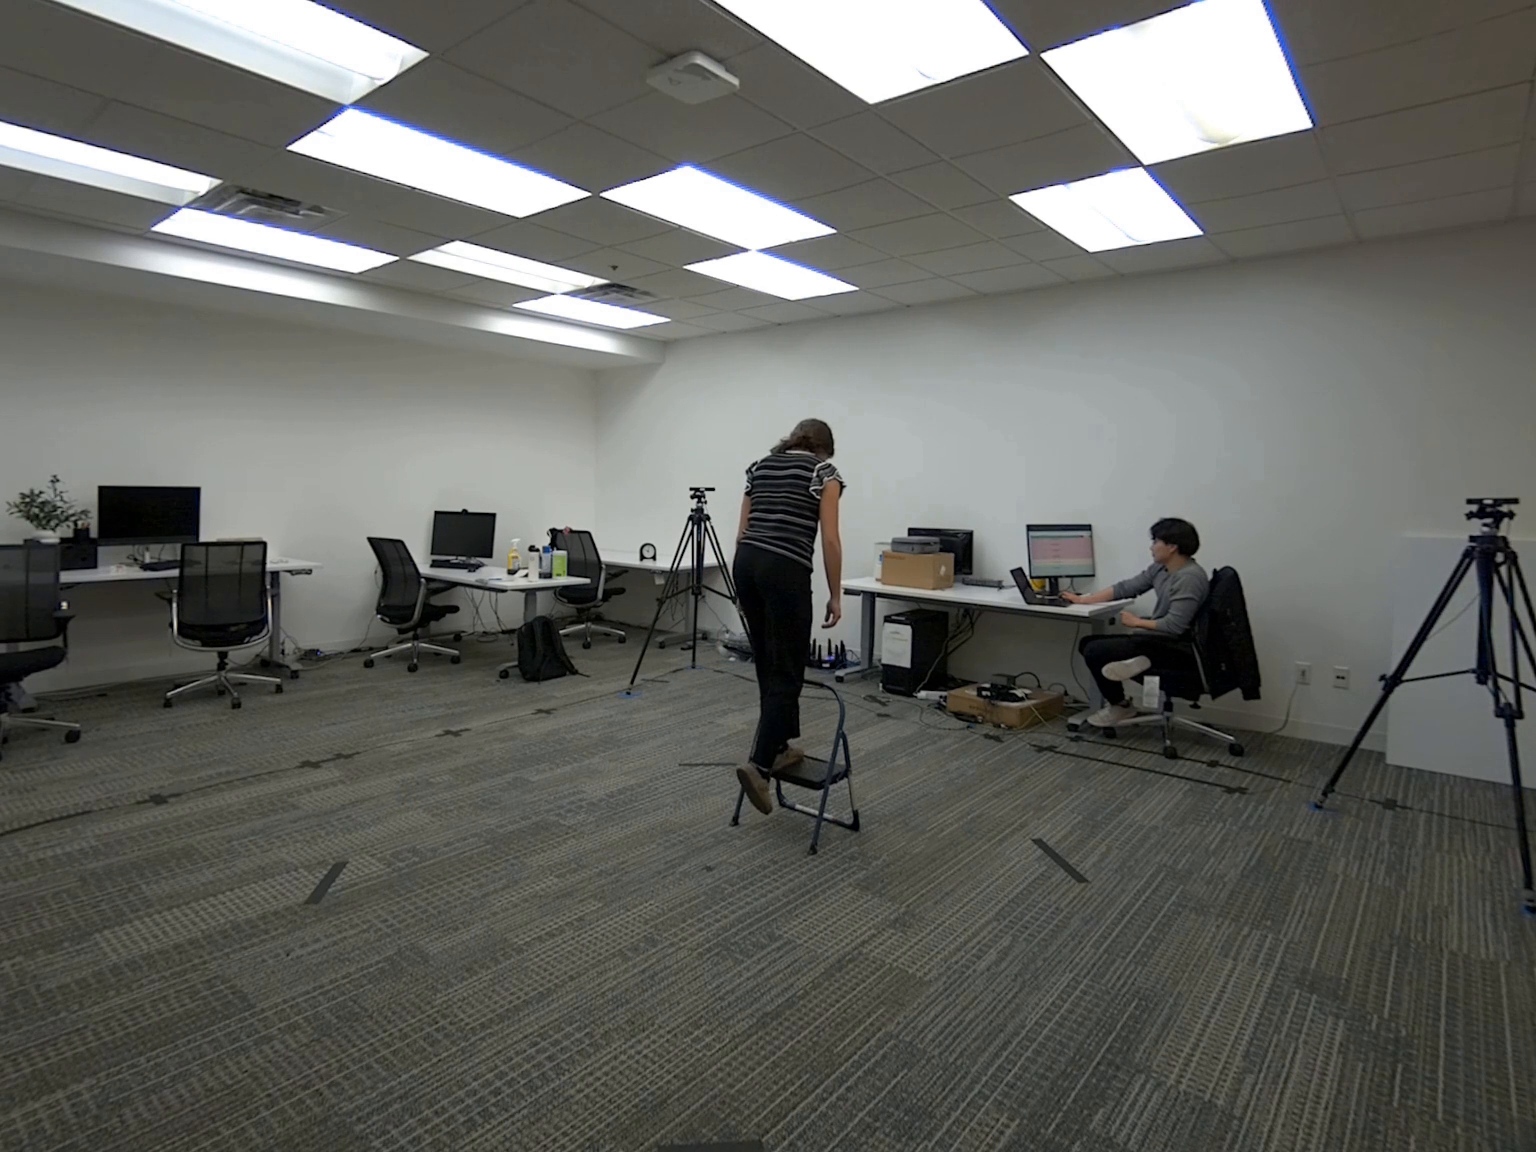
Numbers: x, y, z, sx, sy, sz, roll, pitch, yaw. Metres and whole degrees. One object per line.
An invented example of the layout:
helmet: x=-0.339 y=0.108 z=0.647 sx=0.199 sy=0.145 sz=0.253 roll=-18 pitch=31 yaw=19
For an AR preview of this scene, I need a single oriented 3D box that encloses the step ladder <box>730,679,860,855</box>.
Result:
step ladder: x=0.113 y=0.736 z=3.493 sx=0.445 sy=0.604 sz=0.339 roll=5 pitch=5 yaw=39
